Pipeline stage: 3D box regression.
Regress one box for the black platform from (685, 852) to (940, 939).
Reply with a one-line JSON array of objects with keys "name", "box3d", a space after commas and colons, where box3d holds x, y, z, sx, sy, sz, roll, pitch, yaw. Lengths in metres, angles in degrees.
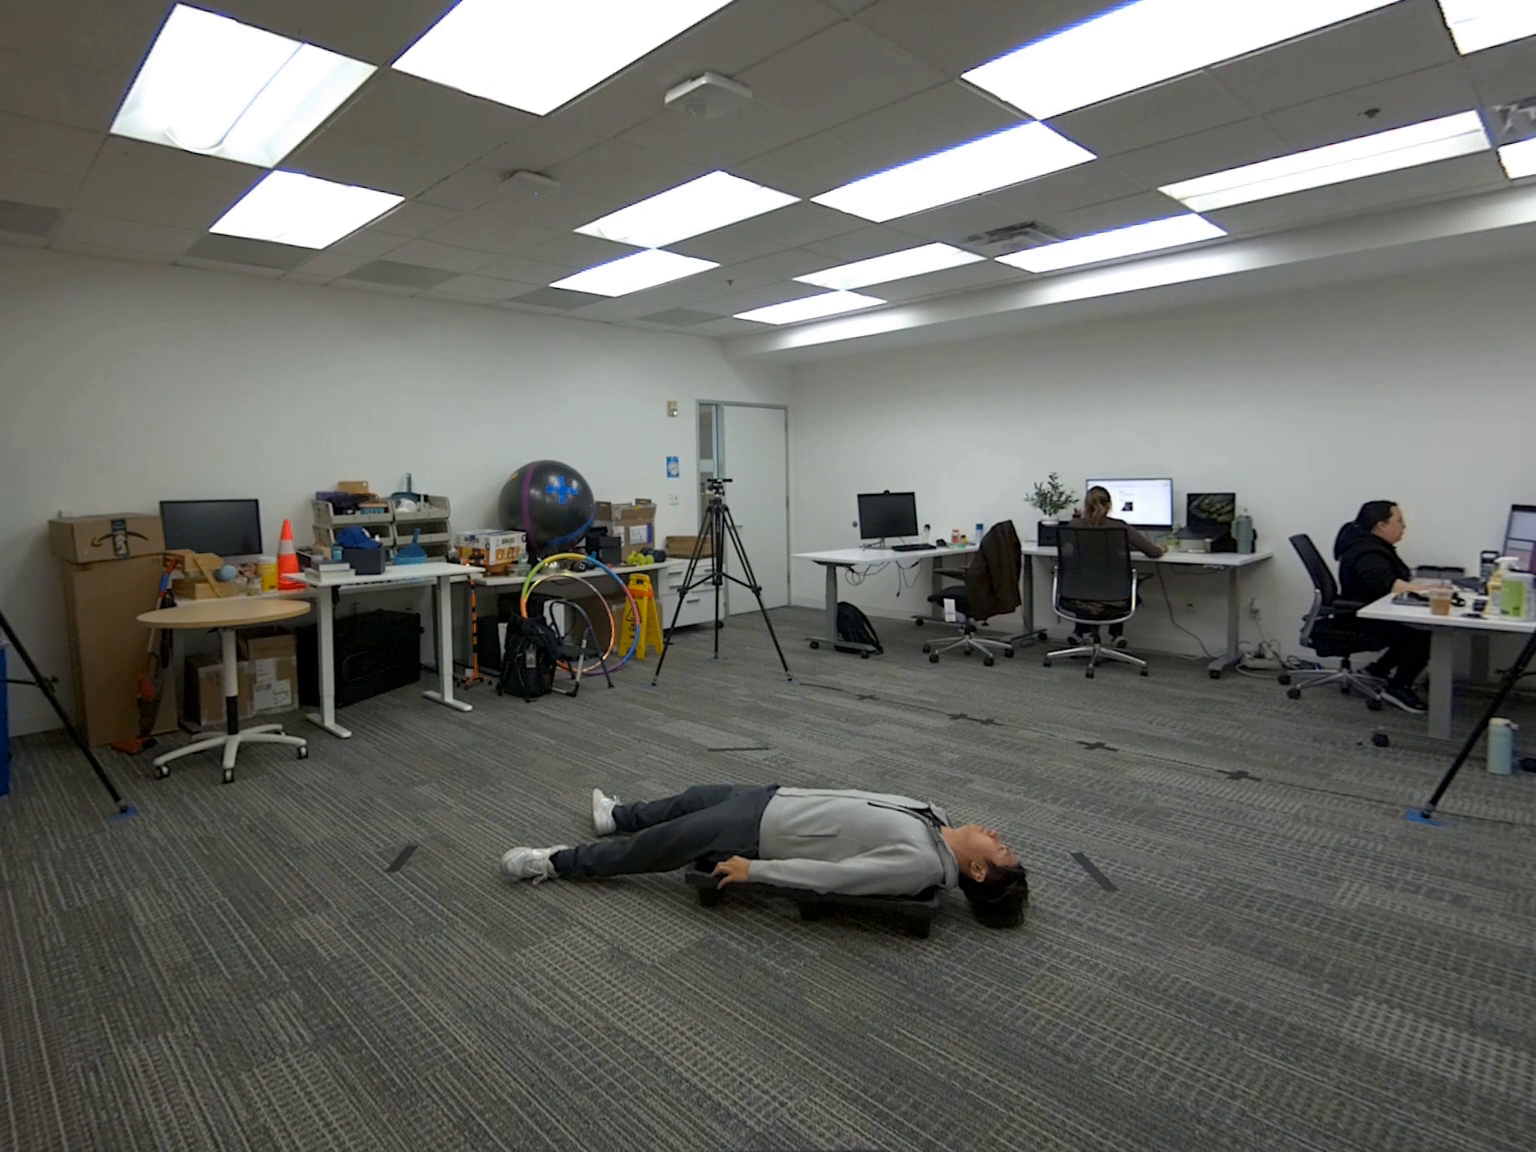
[{"name": "black platform", "box3d": [0.196, 0.982, 2.912, 0.821, 0.143, 0.595, 2, 4, 19]}]
